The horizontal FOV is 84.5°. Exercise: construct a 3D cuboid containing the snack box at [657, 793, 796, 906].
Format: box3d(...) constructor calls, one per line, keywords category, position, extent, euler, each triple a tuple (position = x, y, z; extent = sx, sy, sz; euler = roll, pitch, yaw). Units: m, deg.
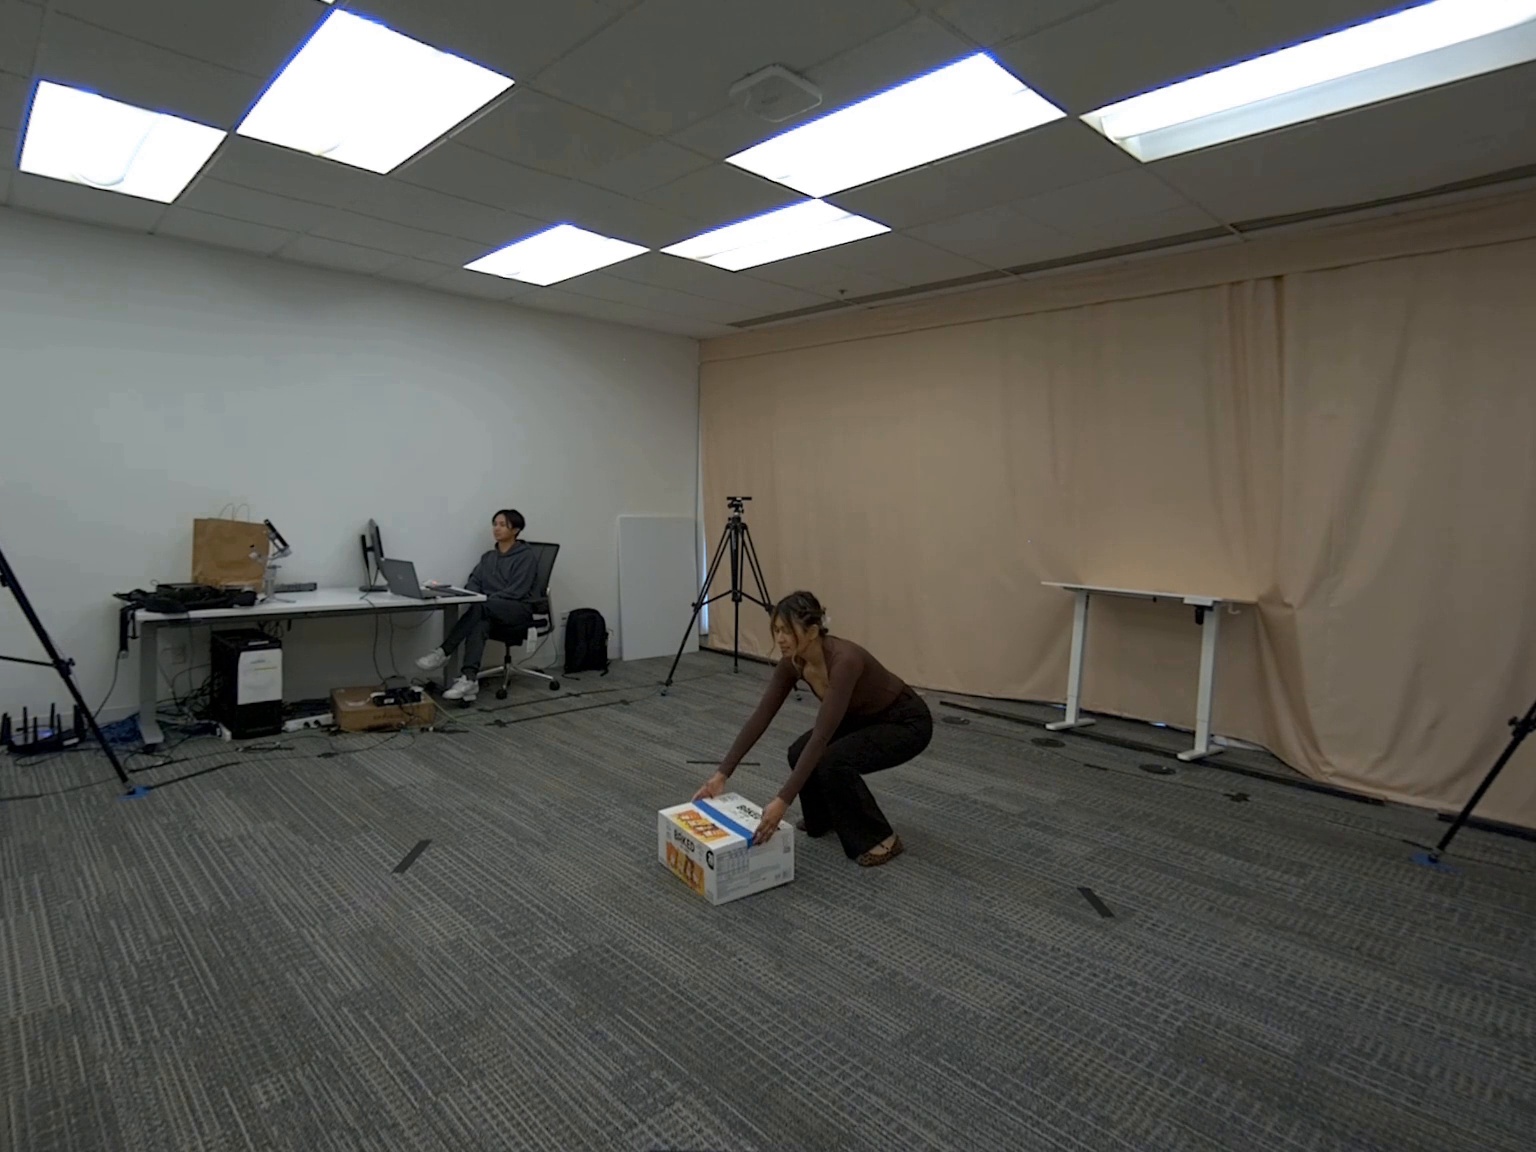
box3d(category="snack box", position=(-0.168, 0.993, 3.111), extent=(0.333, 0.205, 0.415), euler=(-5, 7, -34))
